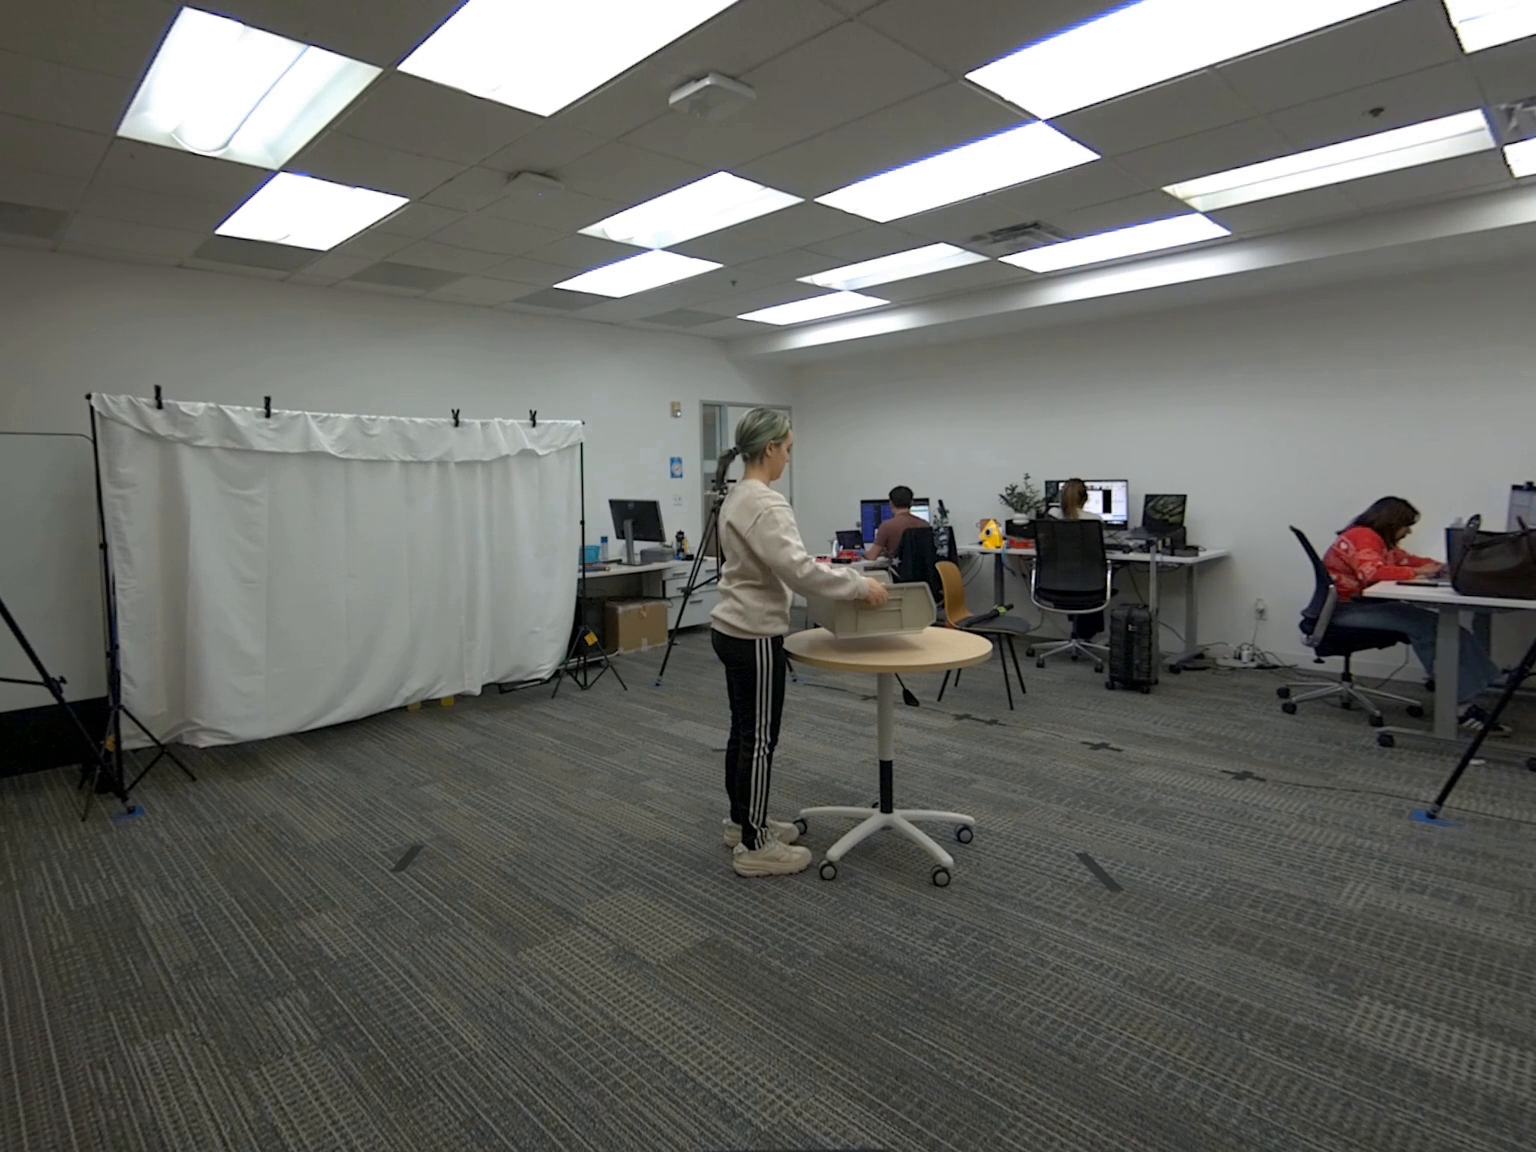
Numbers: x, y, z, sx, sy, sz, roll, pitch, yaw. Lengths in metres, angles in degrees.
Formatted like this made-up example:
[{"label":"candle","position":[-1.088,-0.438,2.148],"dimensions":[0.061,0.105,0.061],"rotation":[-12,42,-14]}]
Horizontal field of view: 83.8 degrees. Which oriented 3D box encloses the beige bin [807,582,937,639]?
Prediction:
[{"label":"beige bin","position":[0.367,0.095,3.174],"dimensions":[0.374,0.188,0.429],"rotation":[-4,8,-10]}]
